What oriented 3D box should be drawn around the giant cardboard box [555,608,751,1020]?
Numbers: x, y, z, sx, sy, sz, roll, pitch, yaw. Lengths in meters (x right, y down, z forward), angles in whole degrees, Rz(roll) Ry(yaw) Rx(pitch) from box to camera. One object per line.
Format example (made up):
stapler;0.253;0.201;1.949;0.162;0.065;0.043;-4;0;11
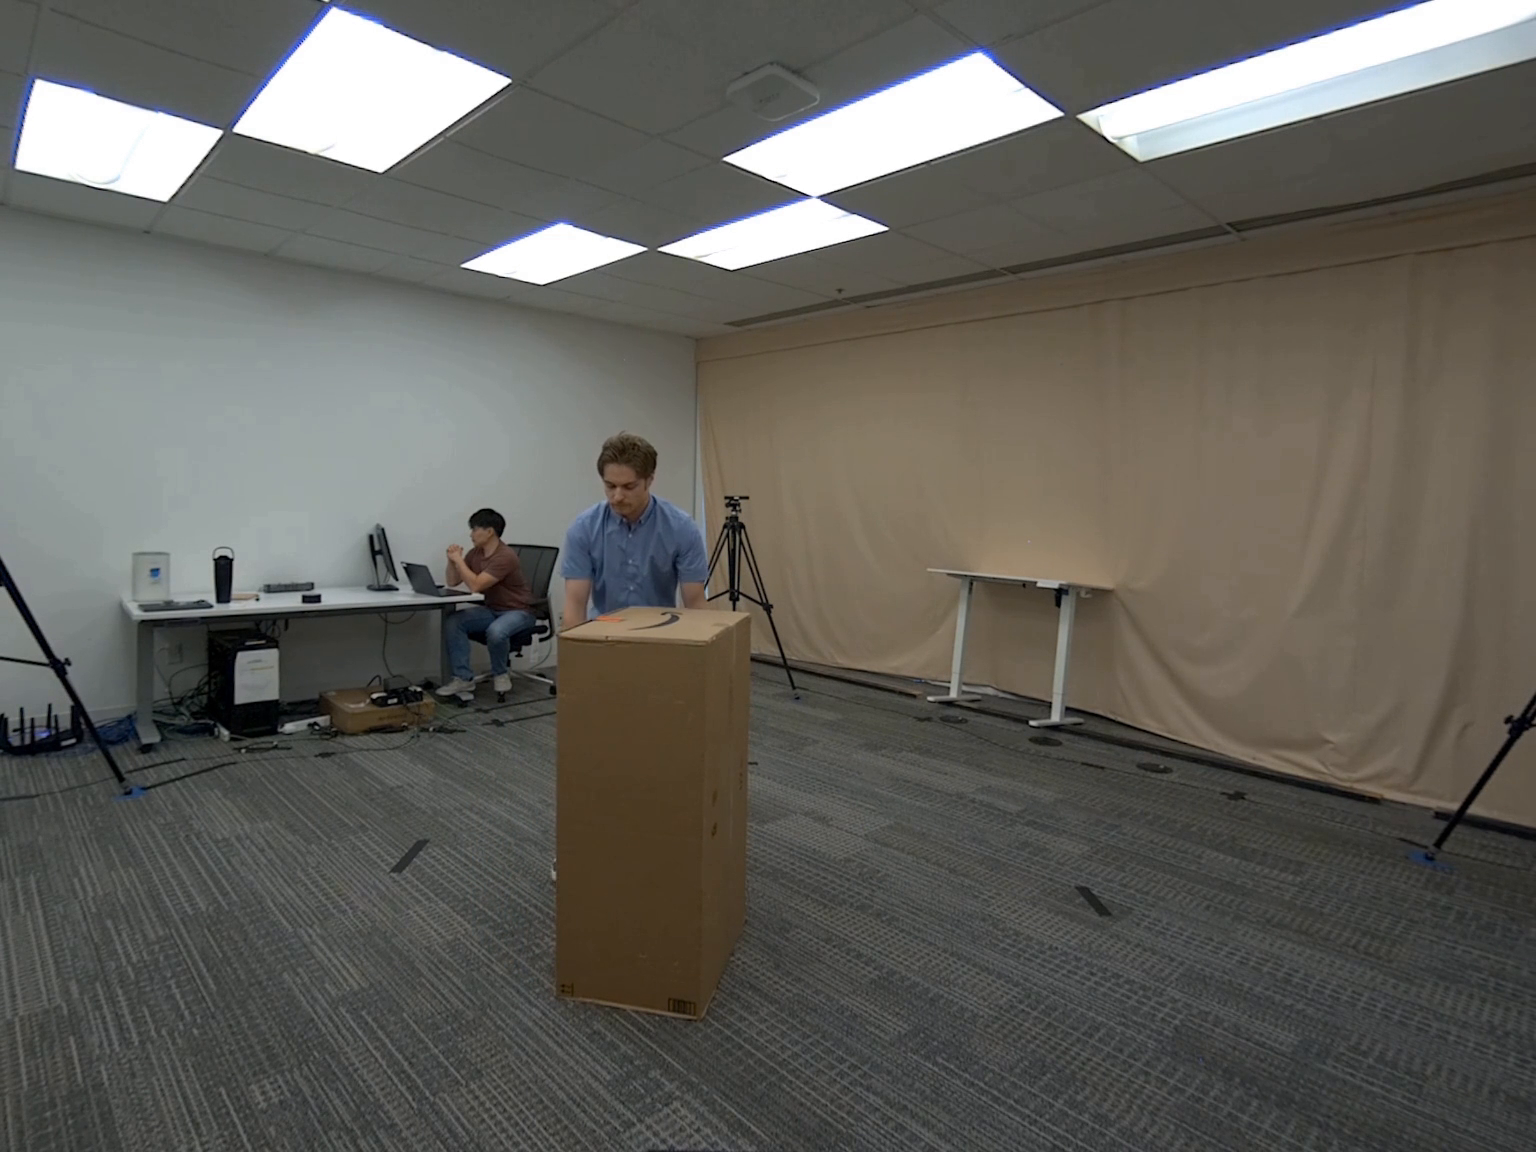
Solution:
giant cardboard box;-0.325;0.647;2.517;0.431;1.023;0.573;1;4;12
